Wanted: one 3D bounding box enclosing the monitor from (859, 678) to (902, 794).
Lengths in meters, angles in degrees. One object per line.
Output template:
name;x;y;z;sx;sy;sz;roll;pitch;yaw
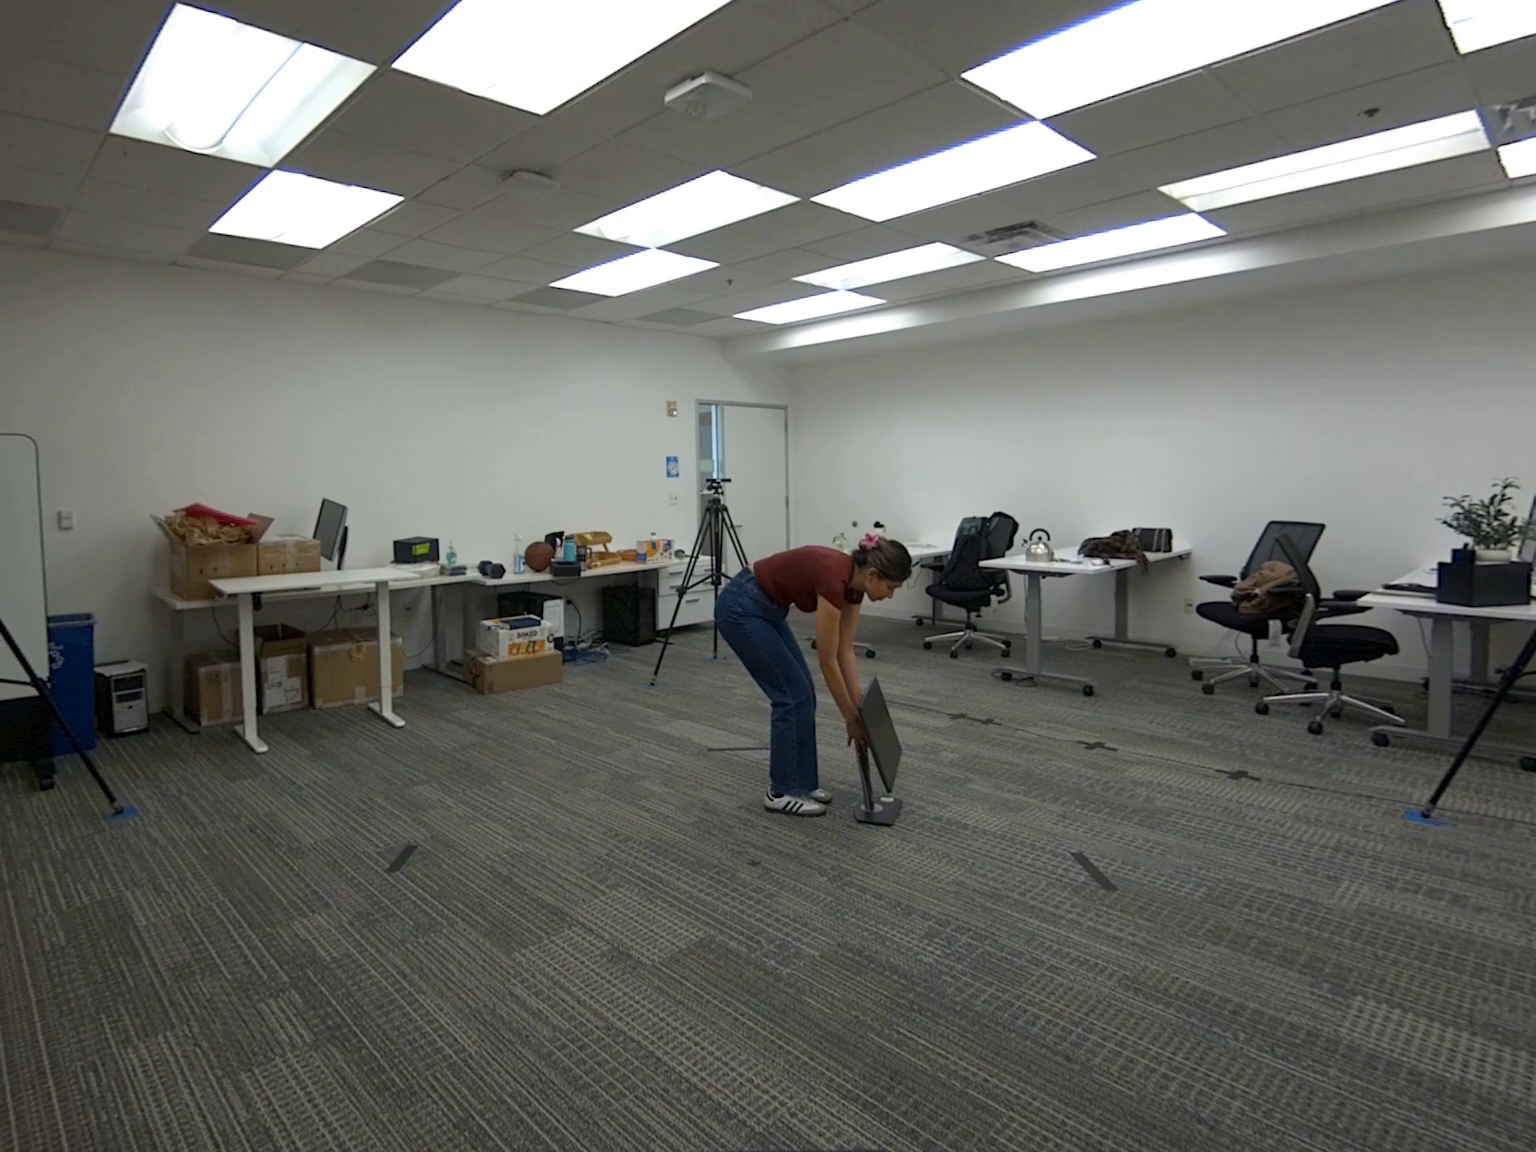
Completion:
monitor;0.443;0.732;3.544;0.190;0.521;0.533;-3;4;14
